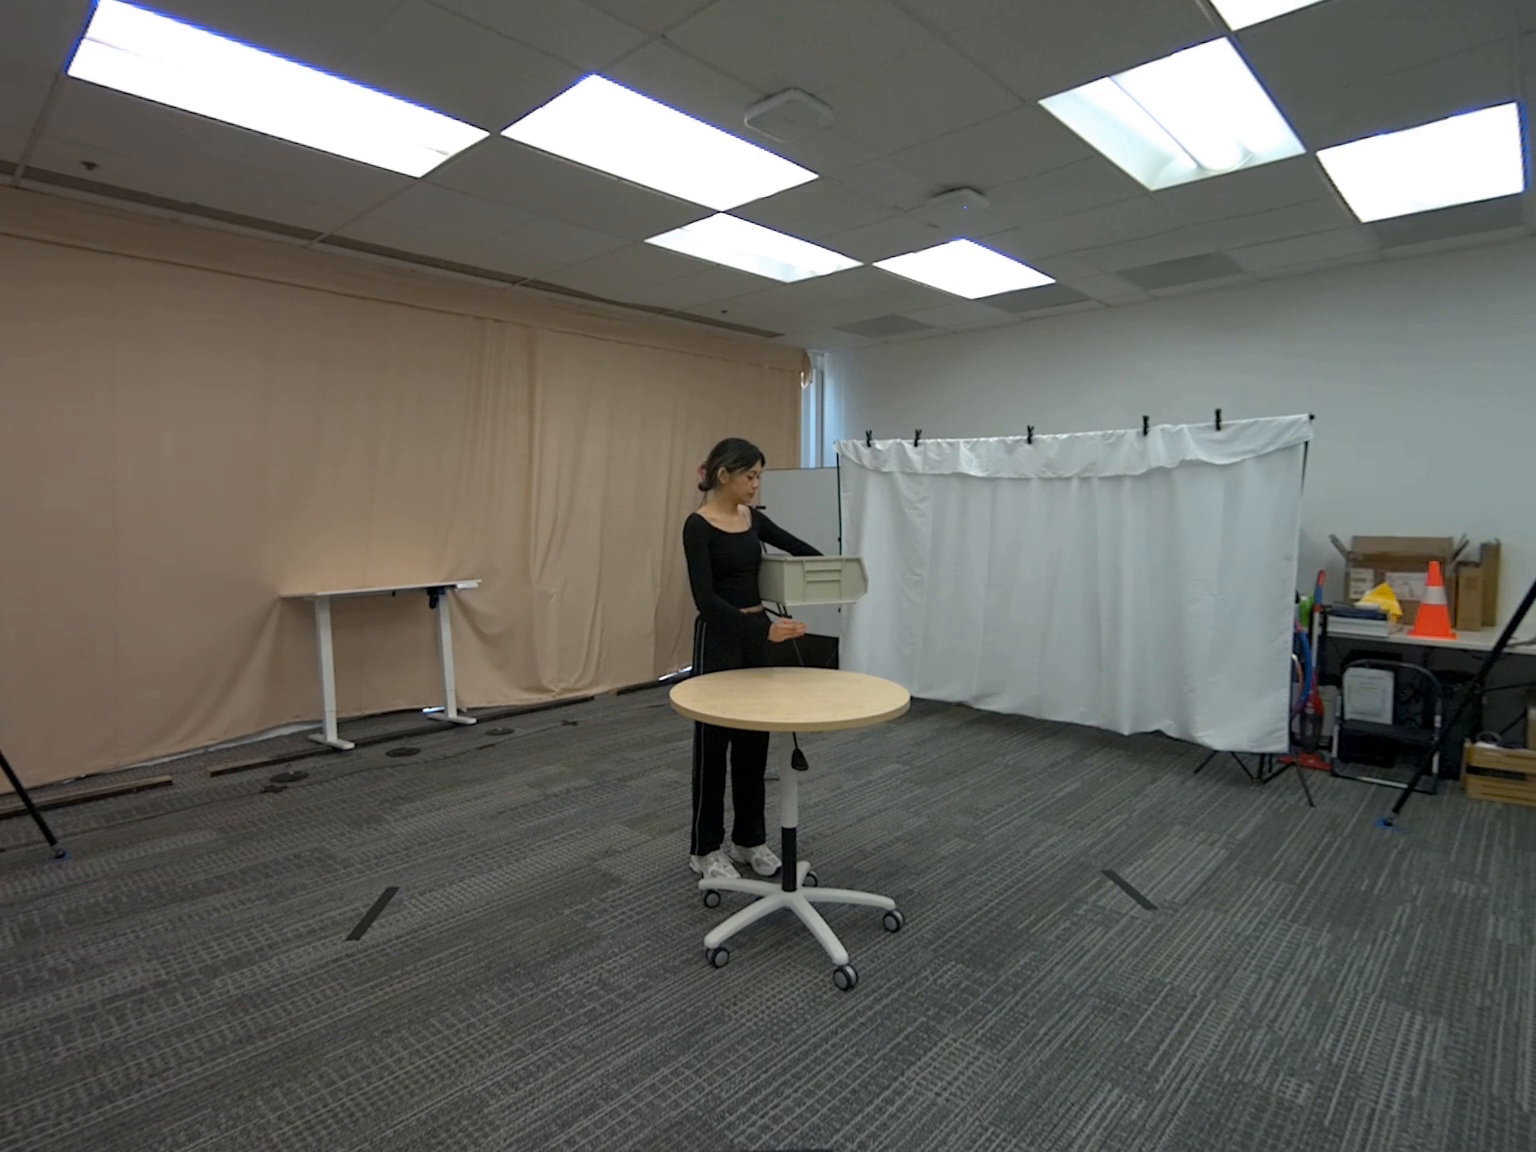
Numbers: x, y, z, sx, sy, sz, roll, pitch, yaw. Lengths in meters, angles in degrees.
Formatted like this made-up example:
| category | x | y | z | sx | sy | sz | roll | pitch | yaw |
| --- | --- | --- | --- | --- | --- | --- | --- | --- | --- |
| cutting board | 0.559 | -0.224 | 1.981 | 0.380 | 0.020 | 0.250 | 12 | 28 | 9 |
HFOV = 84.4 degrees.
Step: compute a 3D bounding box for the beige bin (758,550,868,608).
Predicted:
| category | x | y | z | sx | sy | sz | roll | pitch | yaw |
| --- | --- | --- | --- | --- | --- | --- | --- | --- | --- |
| beige bin | 0.128 | 0.009 | 3.311 | 0.367 | 0.189 | 0.434 | -2 | 3 | -29 |
